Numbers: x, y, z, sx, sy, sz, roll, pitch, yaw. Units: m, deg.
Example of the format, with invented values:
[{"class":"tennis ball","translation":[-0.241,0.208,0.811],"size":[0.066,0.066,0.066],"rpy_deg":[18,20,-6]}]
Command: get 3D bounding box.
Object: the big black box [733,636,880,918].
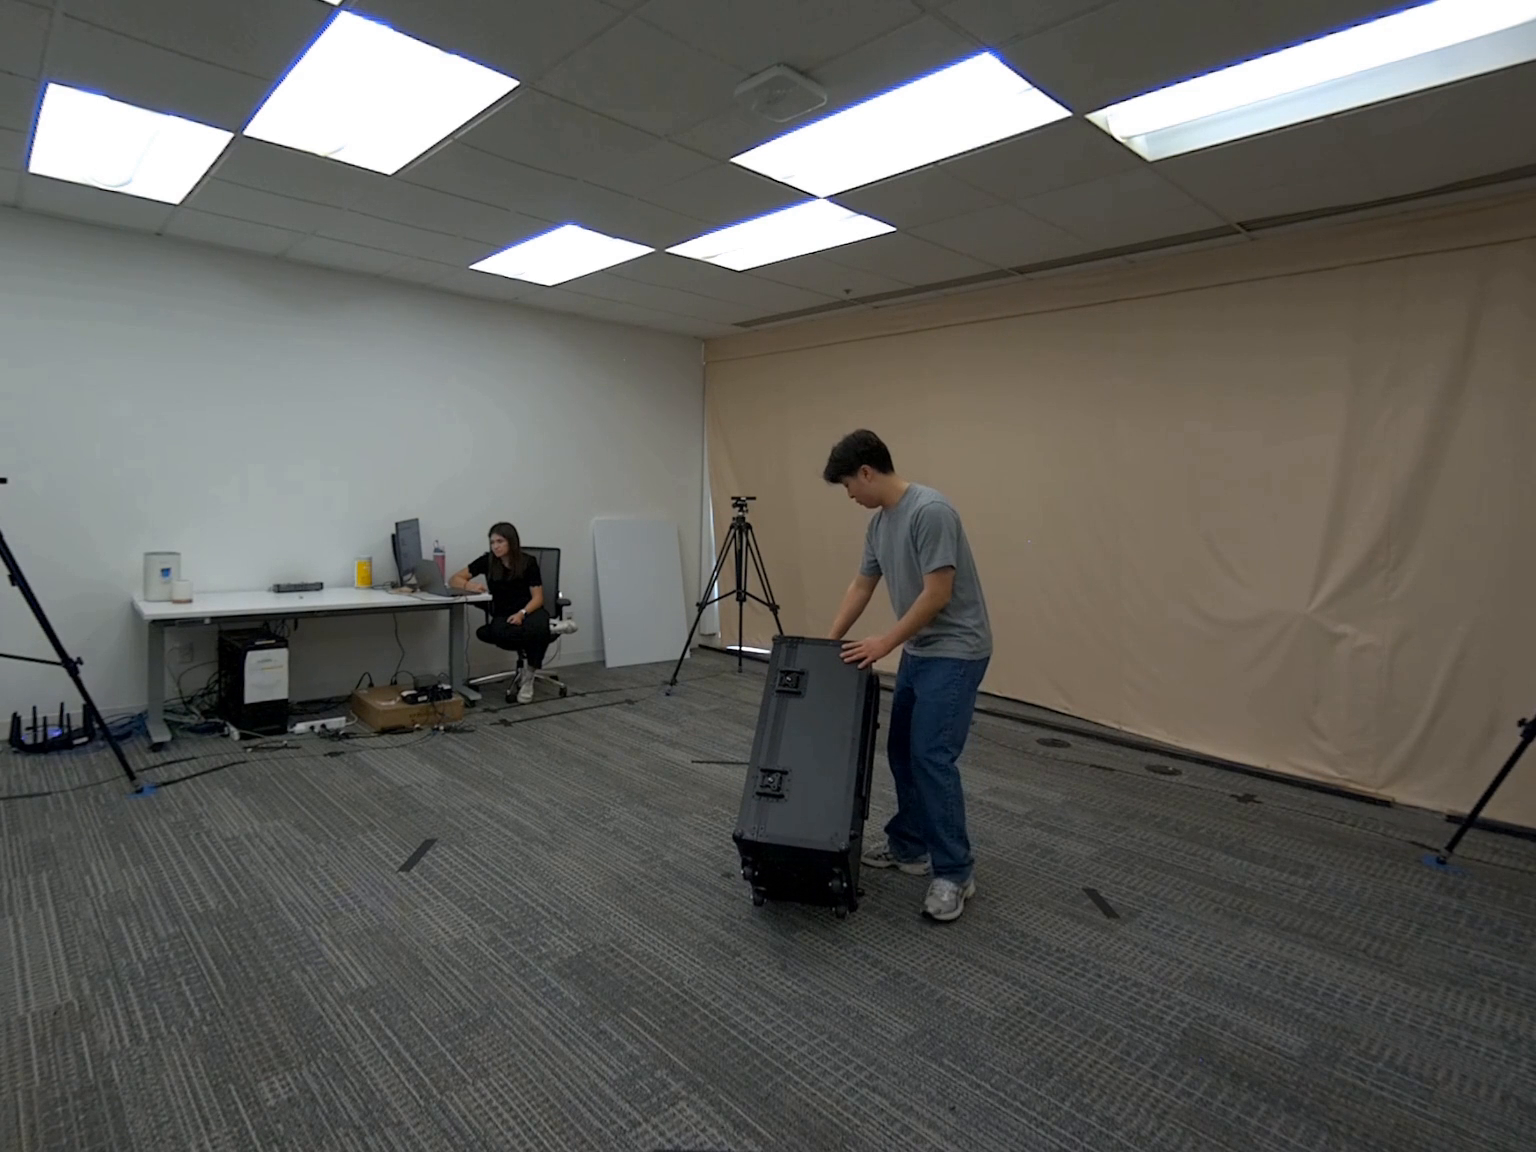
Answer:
[{"class":"big black box","translation":[0.160,0.710,2.948],"size":[0.401,0.874,0.507],"rpy_deg":[2,-41,13]}]
